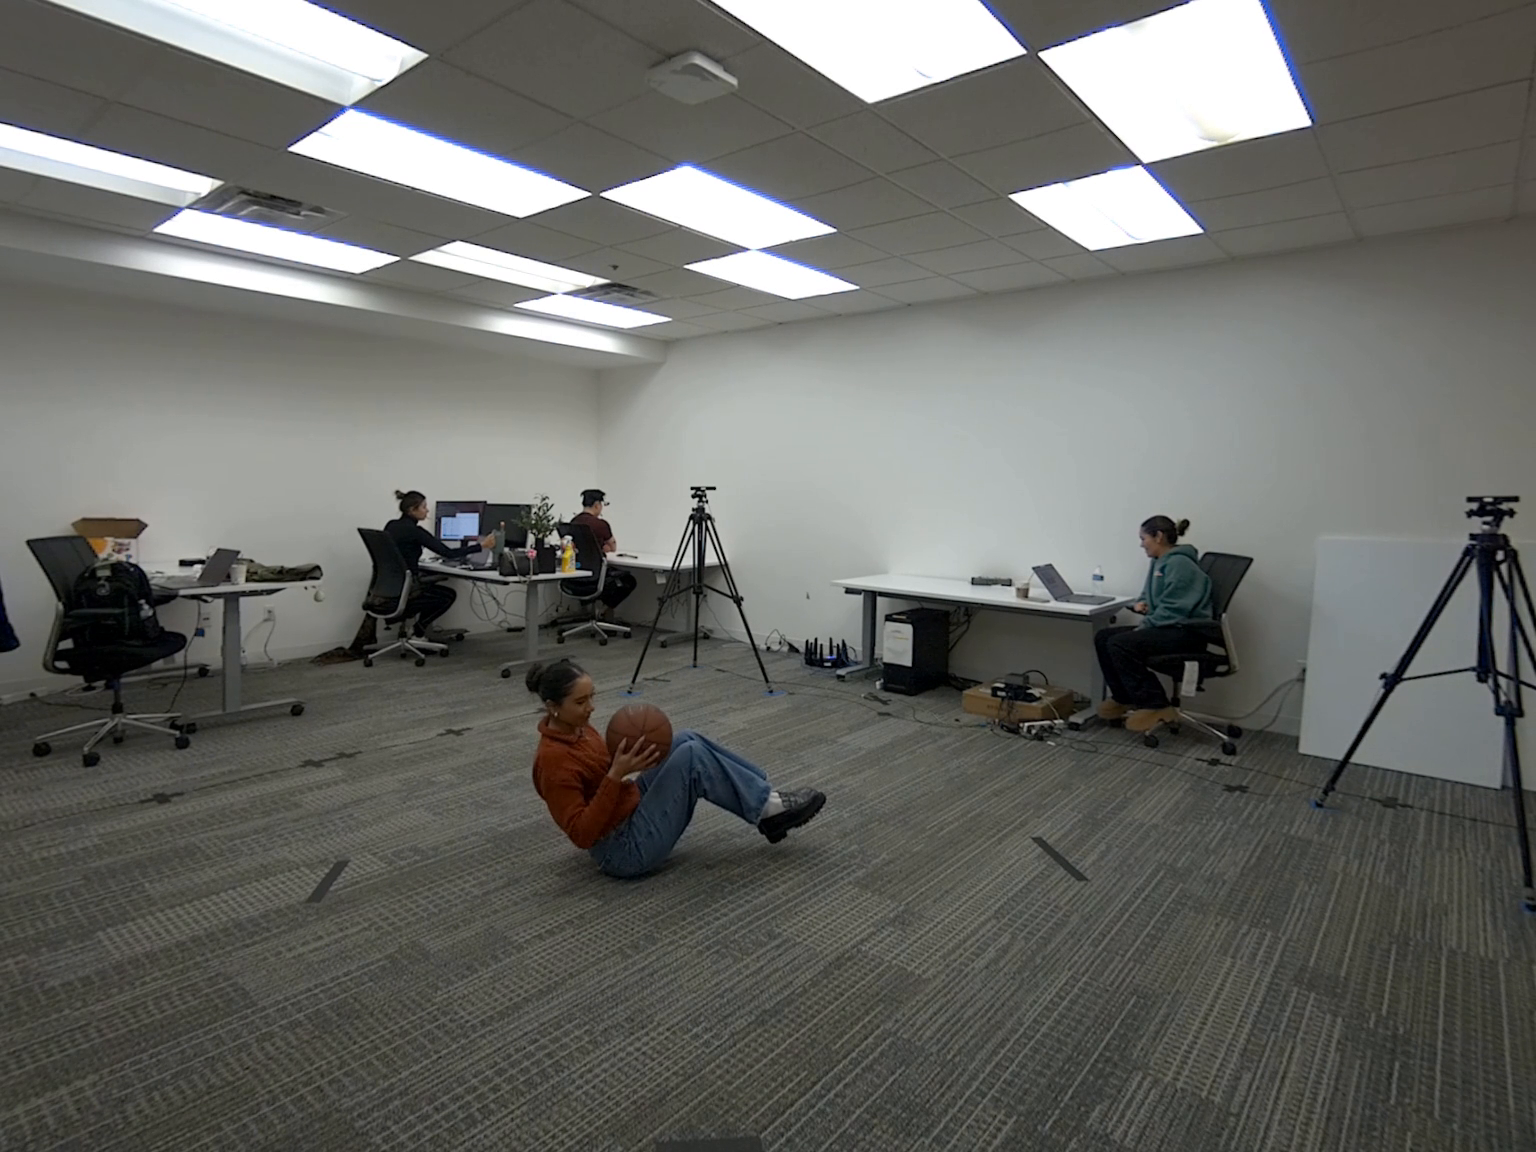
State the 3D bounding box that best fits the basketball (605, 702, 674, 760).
[{"bbox_3d":[-0.484,0.582,2.996,0.235,0.235,0.237,1,4,-2],"label":"basketball"}]
